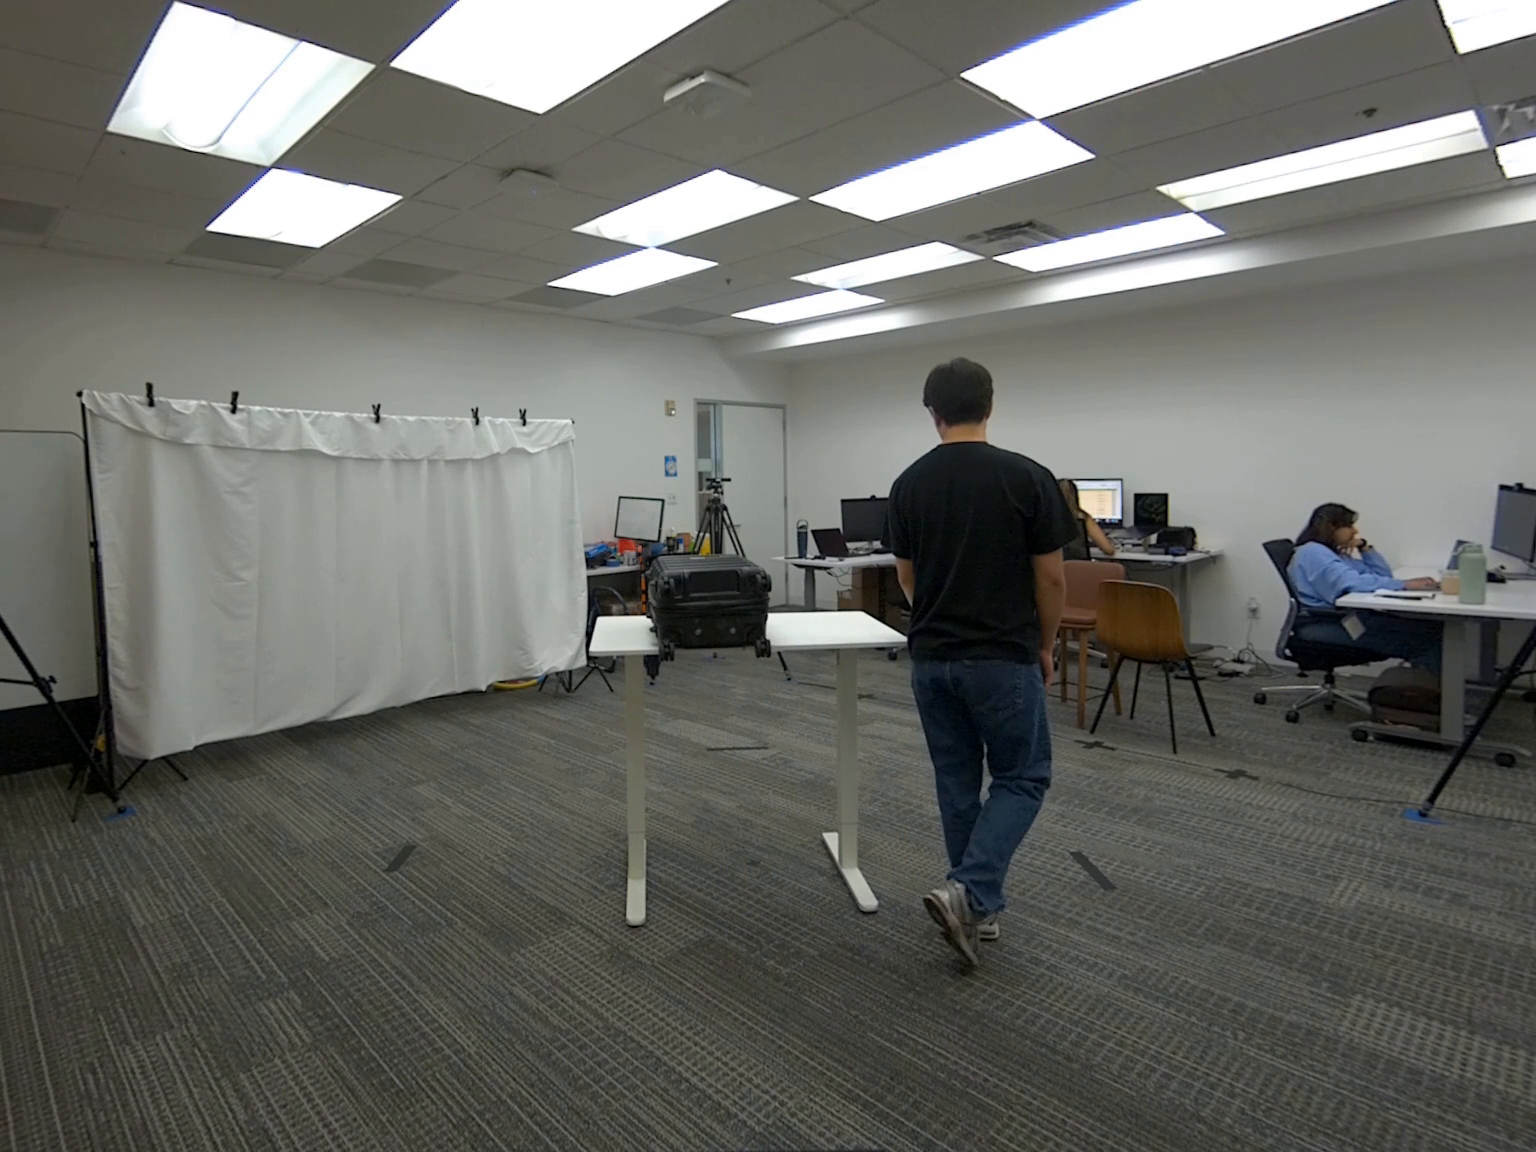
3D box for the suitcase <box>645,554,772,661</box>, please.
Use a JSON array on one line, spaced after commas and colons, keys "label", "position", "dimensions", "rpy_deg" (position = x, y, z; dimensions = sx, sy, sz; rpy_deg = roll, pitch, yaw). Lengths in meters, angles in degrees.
[{"label": "suitcase", "position": [-0.242, 0.051, 2.996], "dimensions": [0.380, 0.255, 0.995], "rpy_deg": [-2, 9, -11]}]
